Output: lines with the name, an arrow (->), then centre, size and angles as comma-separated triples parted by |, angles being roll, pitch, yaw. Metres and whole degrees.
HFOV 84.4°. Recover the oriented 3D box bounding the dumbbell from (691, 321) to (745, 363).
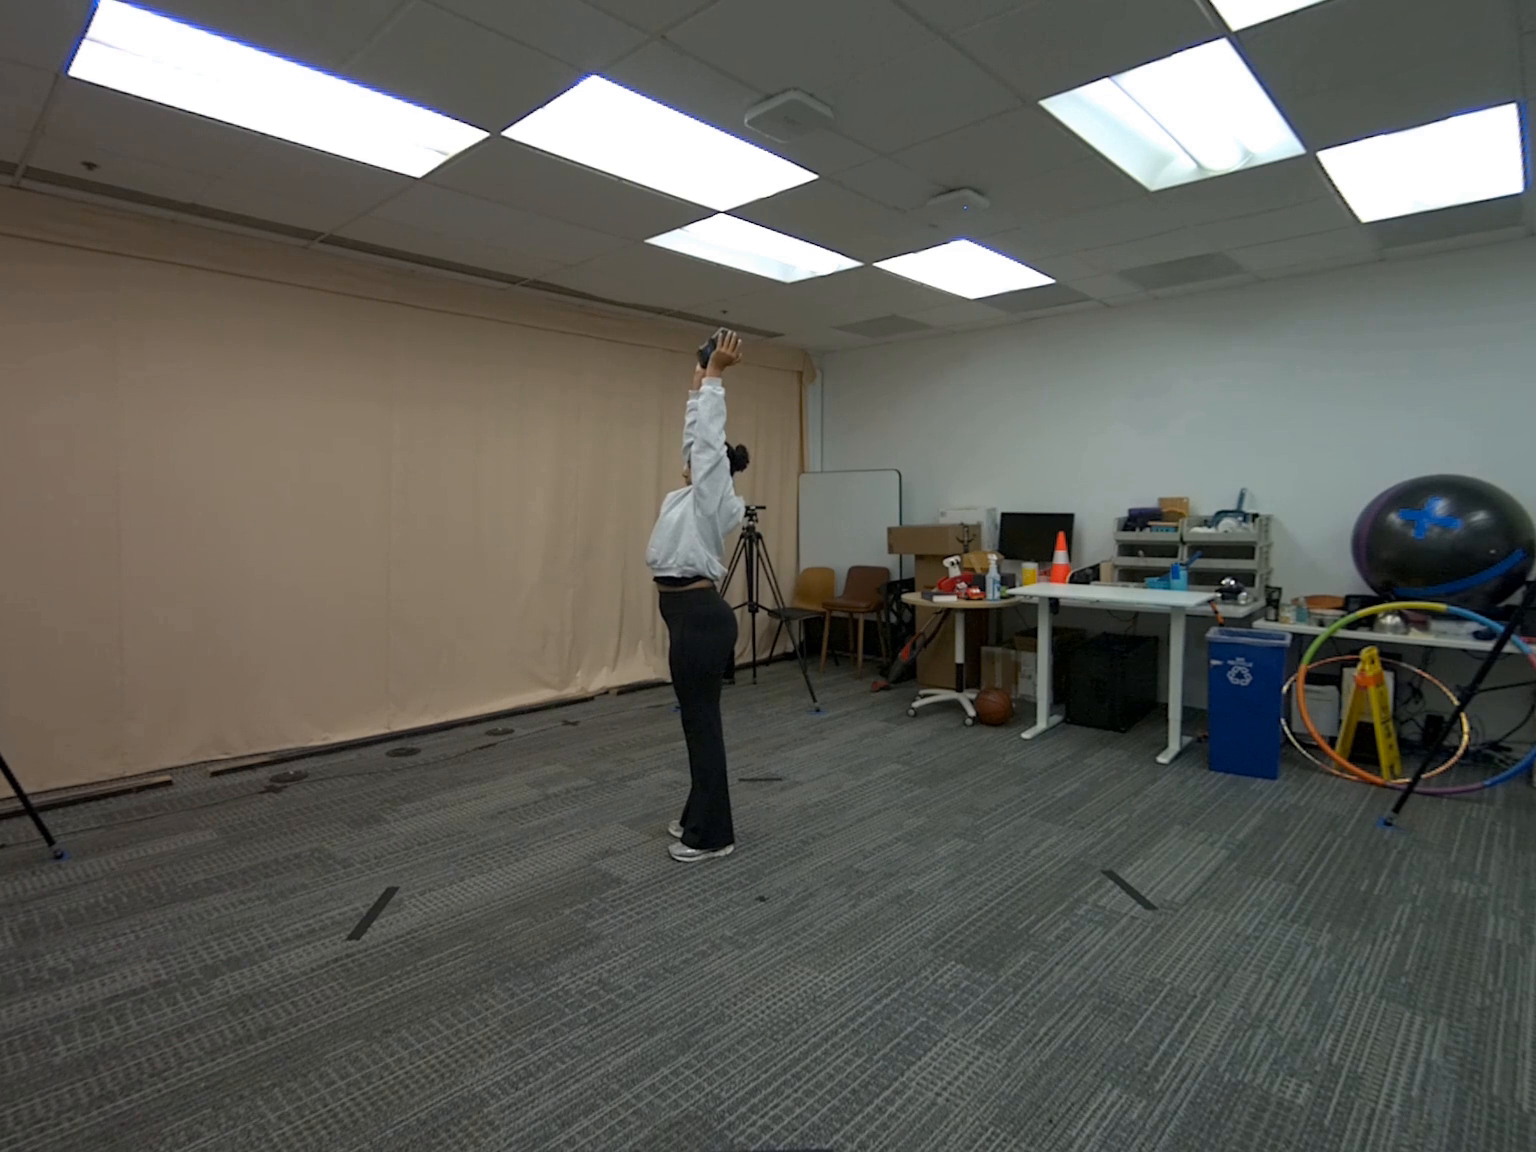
dumbbell -> -0.207, -0.915, 3.406 | 0.107, 0.122, 0.299 | -23, 9, -14
